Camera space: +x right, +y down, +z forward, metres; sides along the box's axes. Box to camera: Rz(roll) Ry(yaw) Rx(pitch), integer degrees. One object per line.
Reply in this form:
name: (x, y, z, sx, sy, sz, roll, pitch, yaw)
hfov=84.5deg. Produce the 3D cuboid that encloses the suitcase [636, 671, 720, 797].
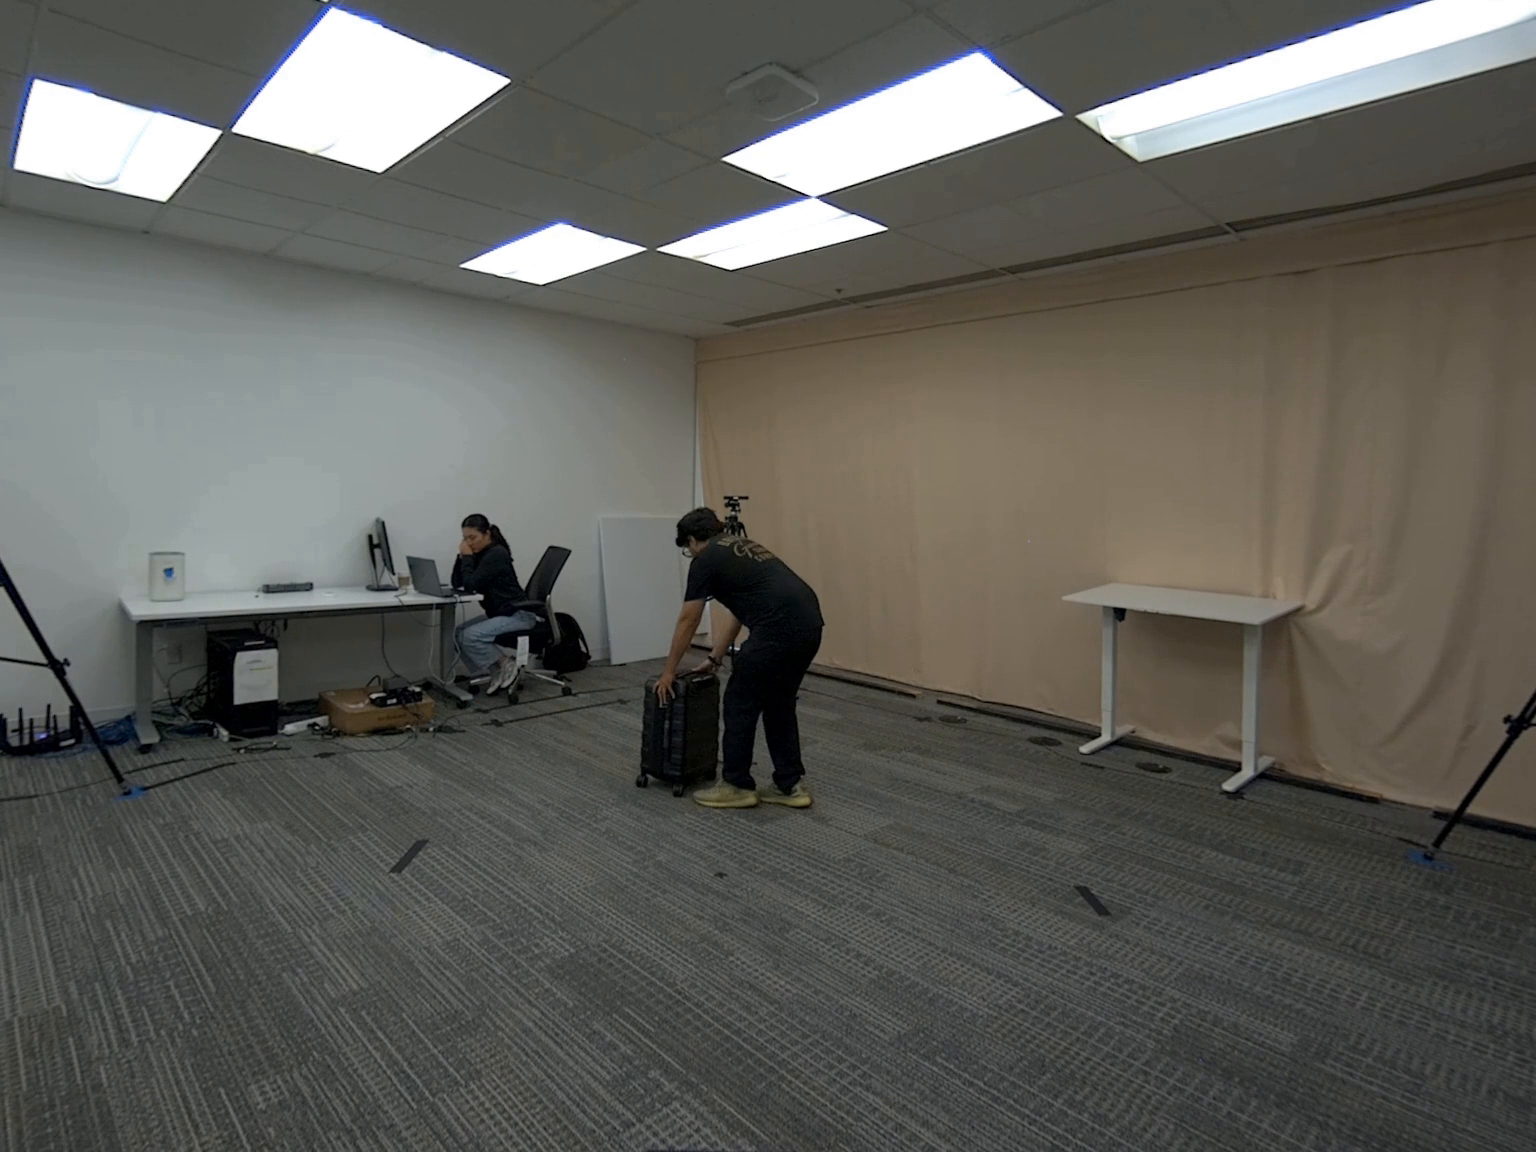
suitcase: (-0.429, 0.730, 4.102, 0.254, 0.548, 0.367, 4, 3, 32)
